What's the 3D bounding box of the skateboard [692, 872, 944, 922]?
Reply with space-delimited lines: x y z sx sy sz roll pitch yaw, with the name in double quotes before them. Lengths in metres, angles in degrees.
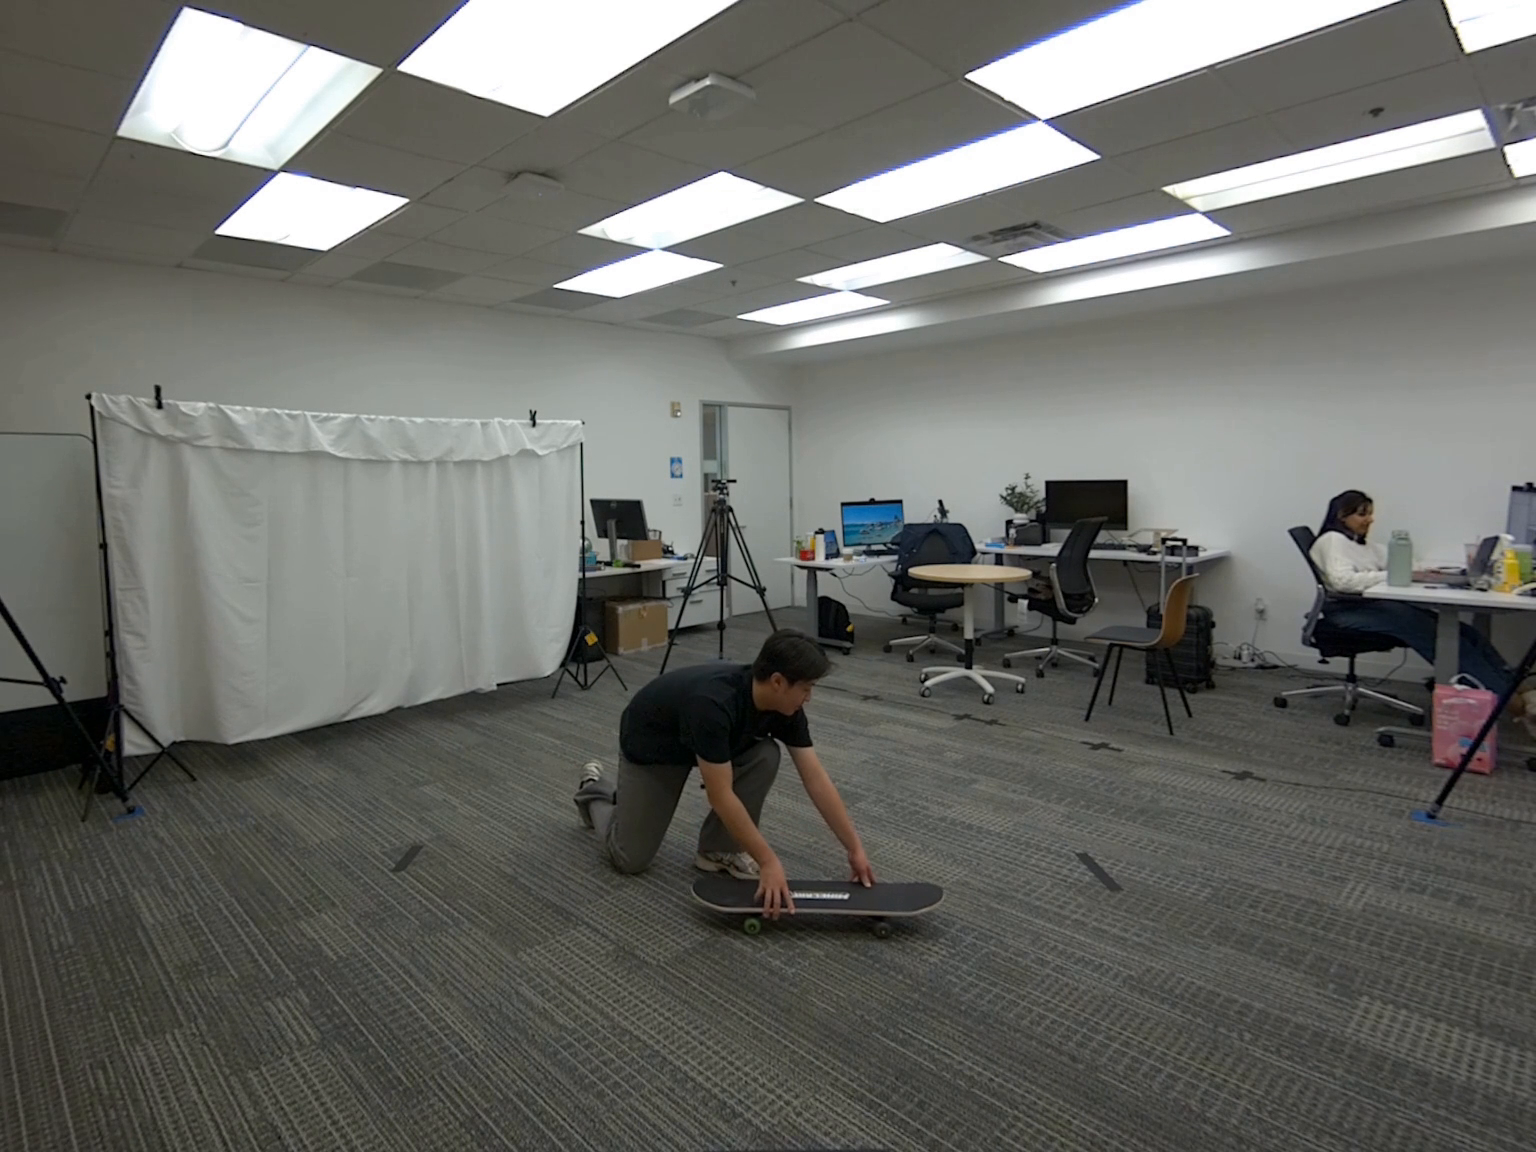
"skateboard" 0.153 1.031 2.692 0.789 0.110 0.193 -1 5 4
